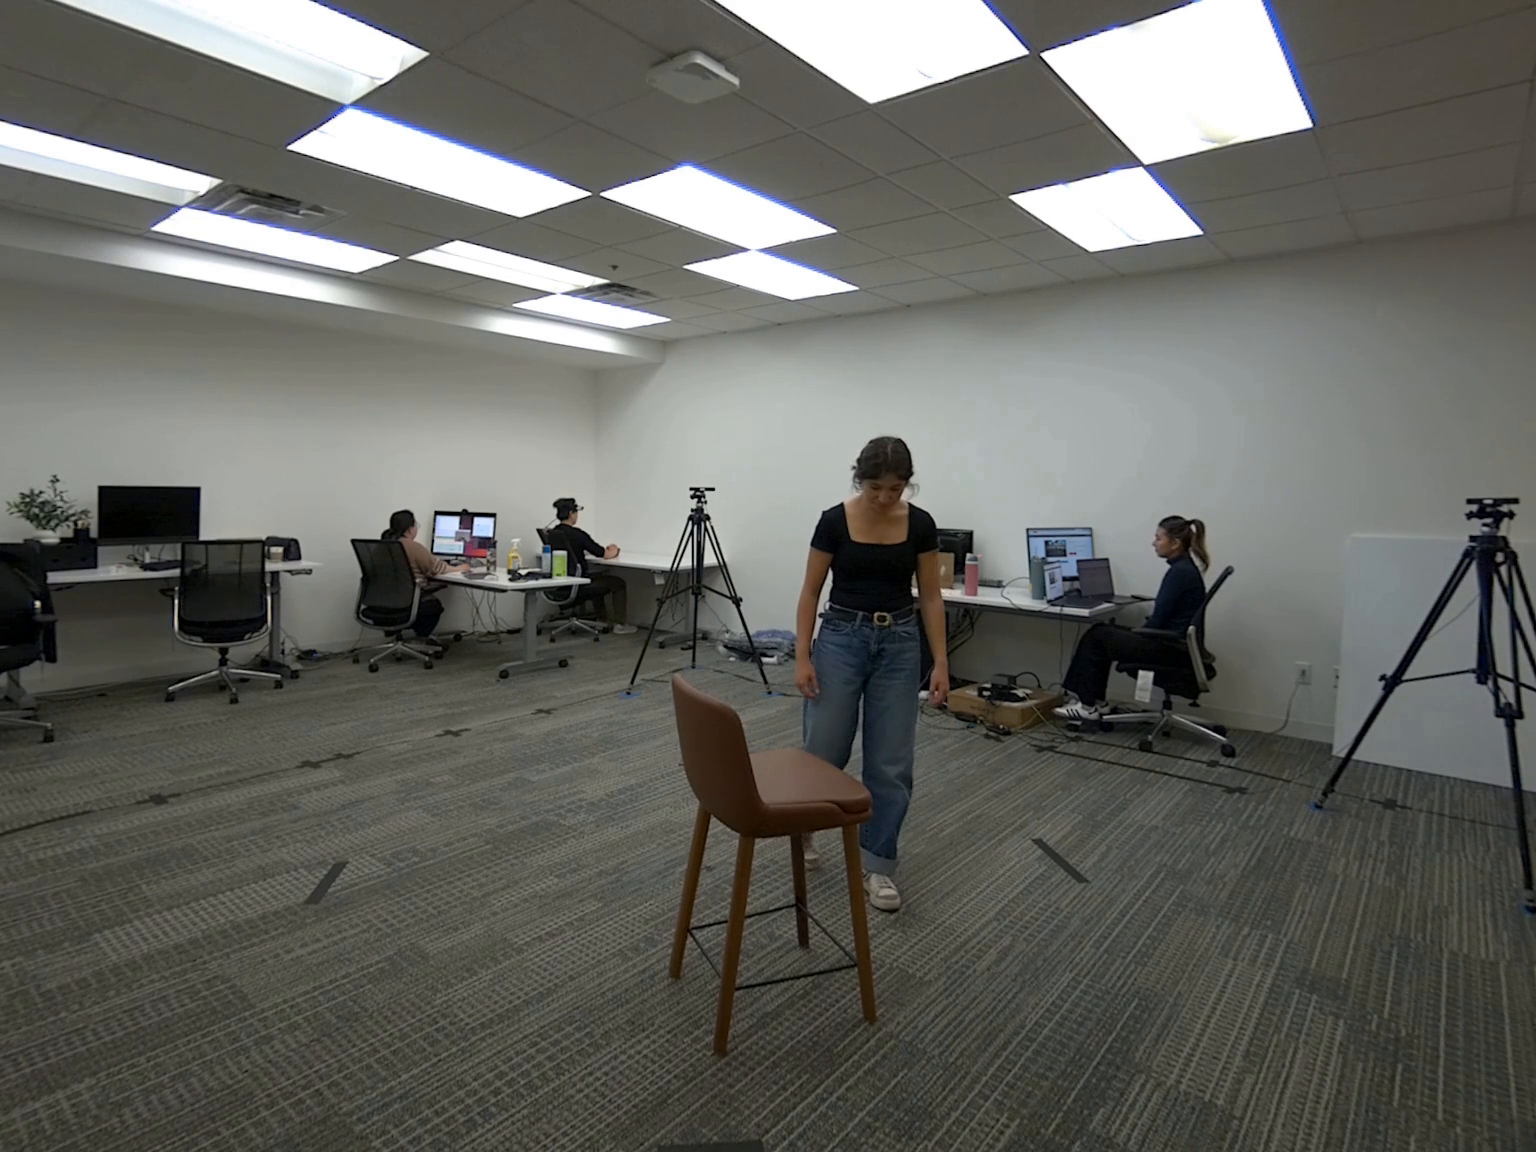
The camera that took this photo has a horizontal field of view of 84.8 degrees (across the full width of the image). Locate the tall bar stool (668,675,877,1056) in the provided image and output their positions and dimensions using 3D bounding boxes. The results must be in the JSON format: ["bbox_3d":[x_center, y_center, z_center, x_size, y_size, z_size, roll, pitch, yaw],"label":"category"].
[{"bbox_3d":[-0.007,0.713,2.310,0.457,0.886,0.468,-2,5,-24],"label":"tall bar stool"}]
